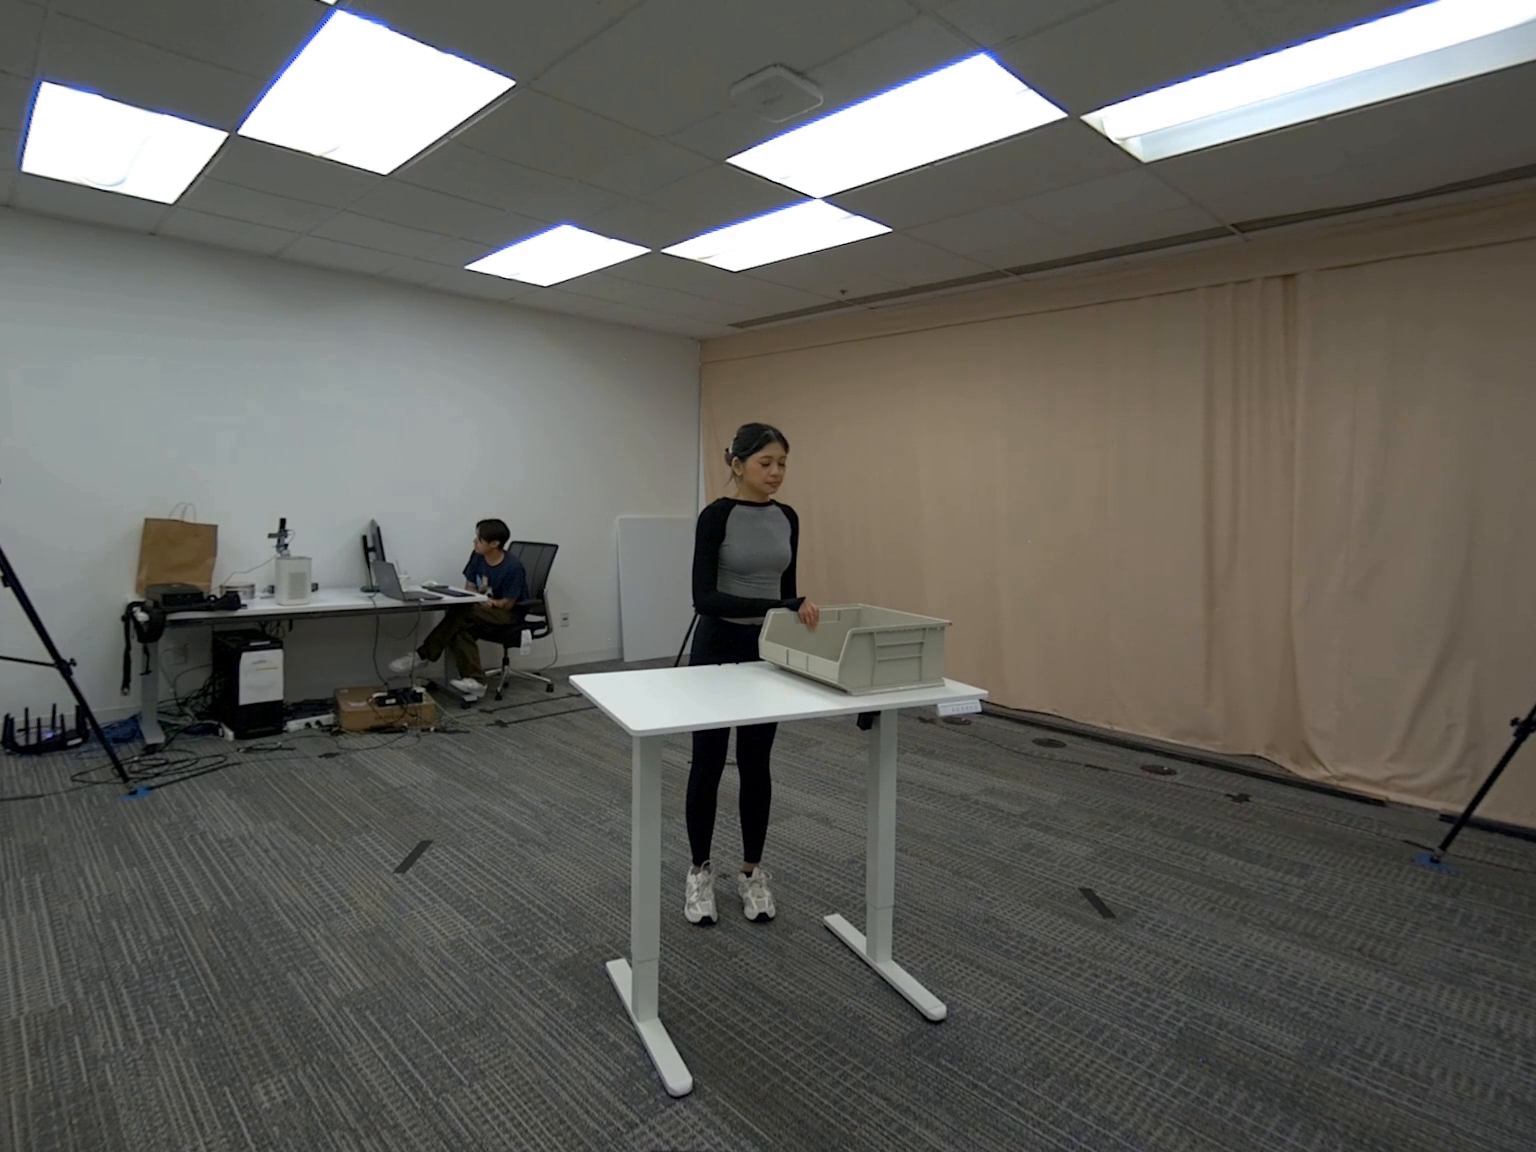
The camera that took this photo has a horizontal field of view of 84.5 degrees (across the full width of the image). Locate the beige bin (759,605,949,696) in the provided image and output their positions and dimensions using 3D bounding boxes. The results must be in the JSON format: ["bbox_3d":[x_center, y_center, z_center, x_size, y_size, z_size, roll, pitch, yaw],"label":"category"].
[{"bbox_3d":[0.232,0.208,2.426,0.370,0.188,0.432,0,4,-29],"label":"beige bin"}]
